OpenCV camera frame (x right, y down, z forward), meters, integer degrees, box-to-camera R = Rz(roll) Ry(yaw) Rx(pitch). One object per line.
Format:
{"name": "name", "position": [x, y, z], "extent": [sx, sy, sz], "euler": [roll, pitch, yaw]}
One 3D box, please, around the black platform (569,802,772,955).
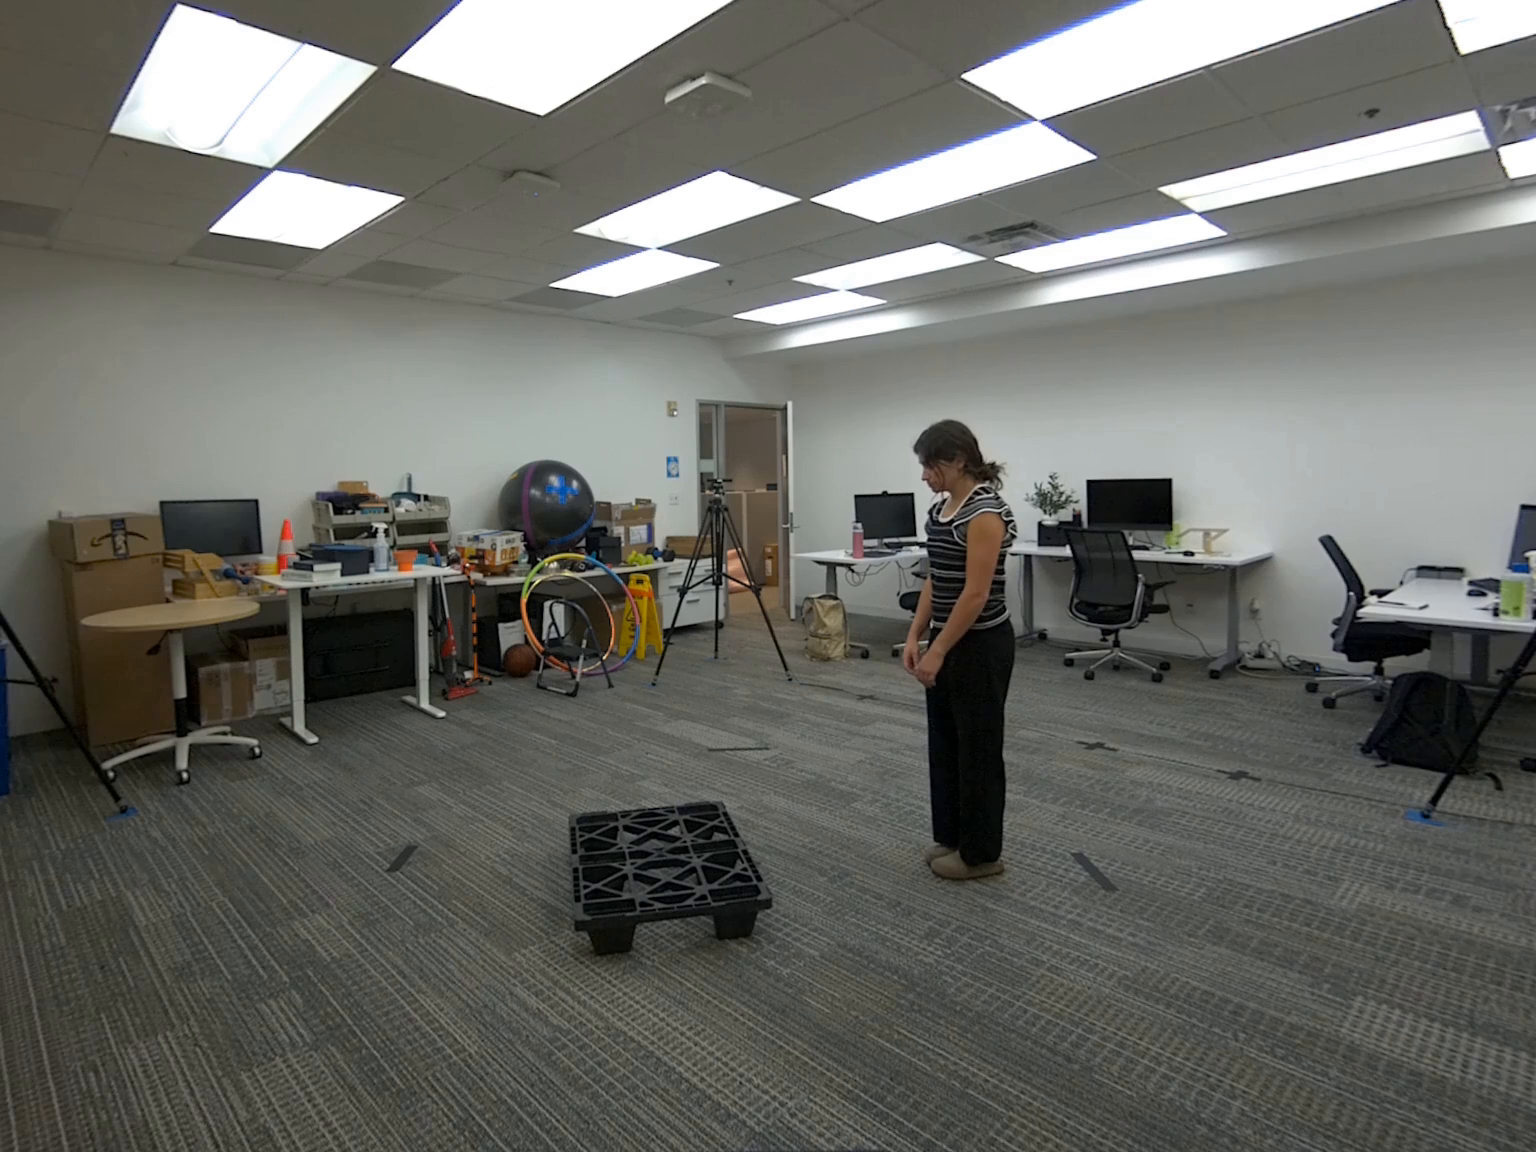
{"name": "black platform", "position": [-0.365, 1.003, 2.917], "extent": [0.598, 0.142, 0.819], "euler": [-3, 7, -13]}
